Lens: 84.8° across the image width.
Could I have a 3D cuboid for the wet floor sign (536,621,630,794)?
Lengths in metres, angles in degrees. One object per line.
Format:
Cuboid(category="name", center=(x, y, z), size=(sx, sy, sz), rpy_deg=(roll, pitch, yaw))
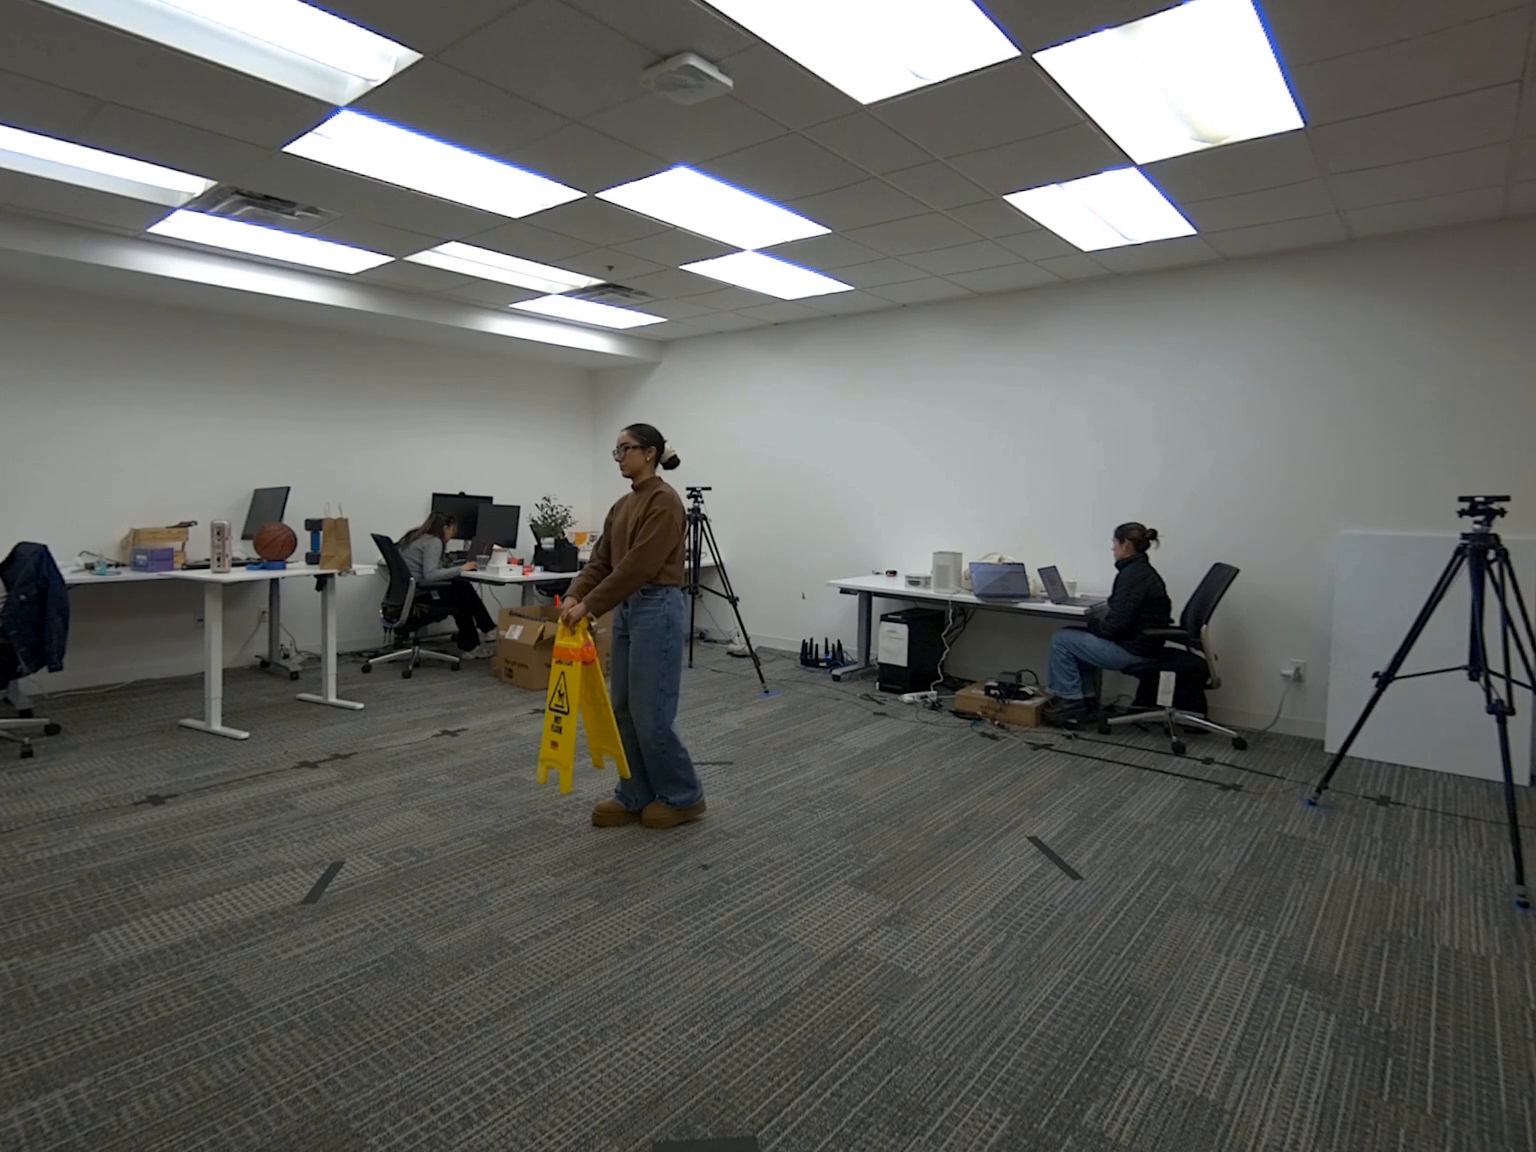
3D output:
Cuboid(category="wet floor sign", center=(-0.758, 0.475, 3.342), size=(0.281, 0.646, 0.290), rpy_deg=(-3, 0, -38))
